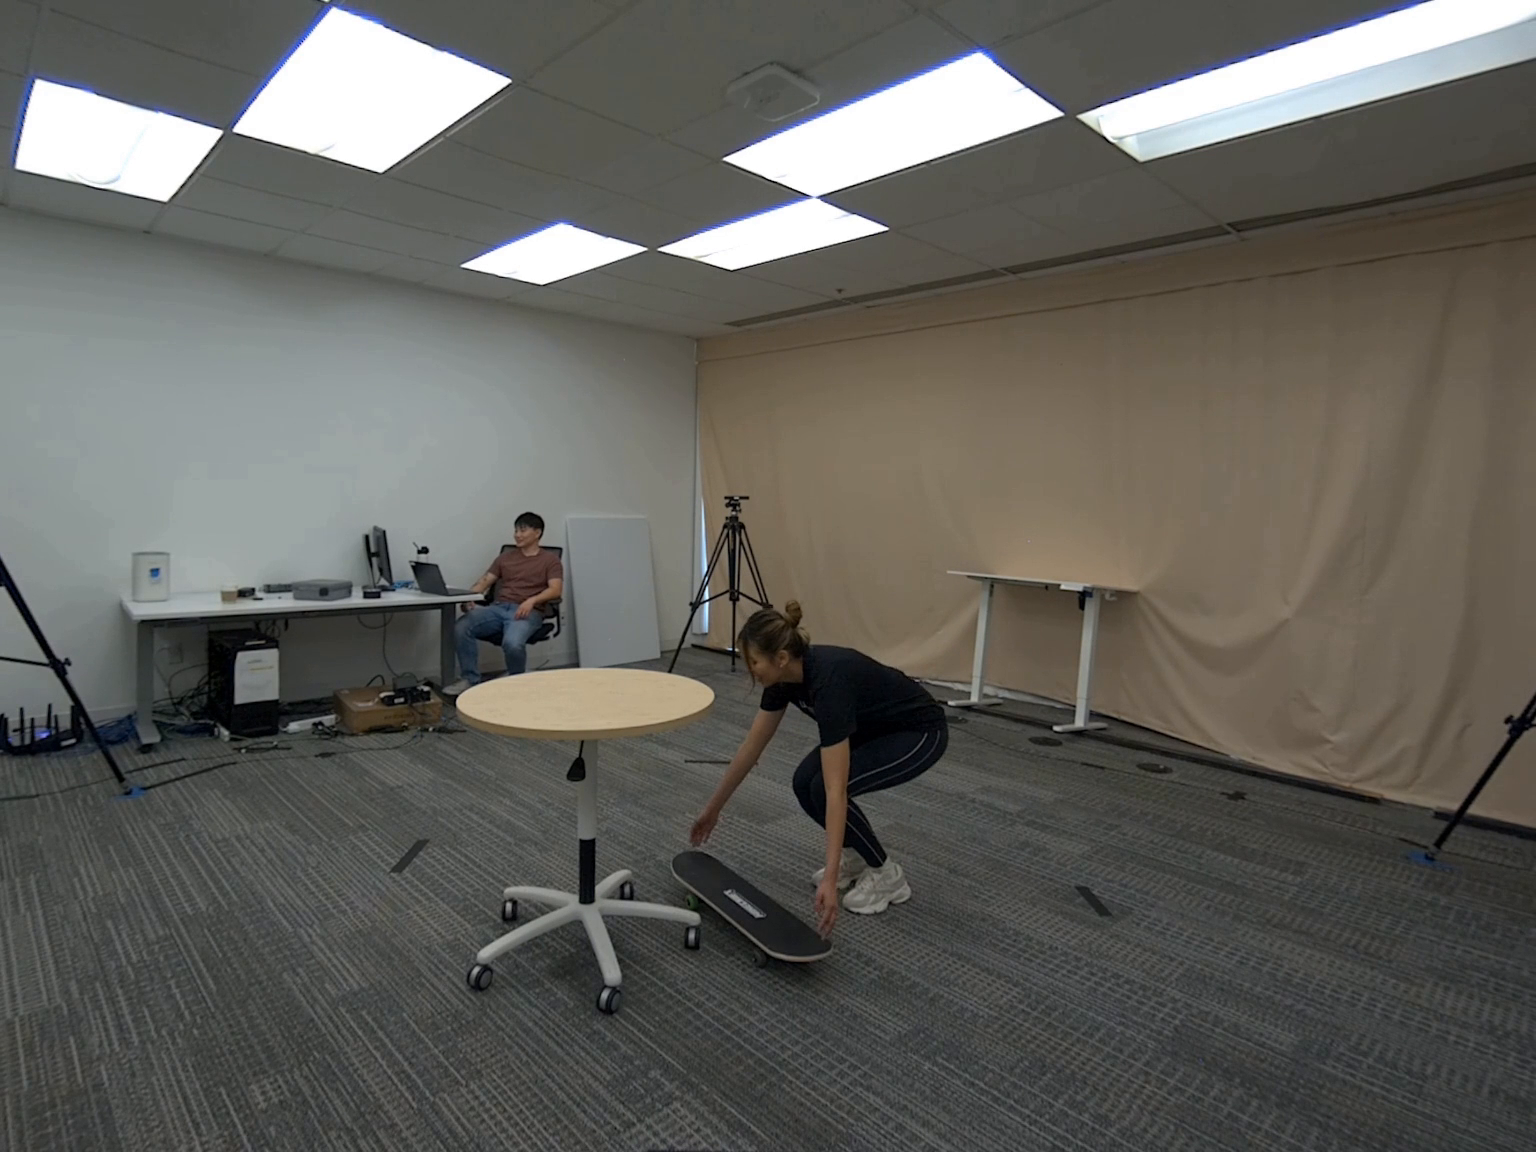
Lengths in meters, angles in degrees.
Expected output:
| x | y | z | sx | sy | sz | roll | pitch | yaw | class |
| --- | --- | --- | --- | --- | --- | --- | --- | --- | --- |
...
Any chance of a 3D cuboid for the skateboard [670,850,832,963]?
| x | y | z | sx | sy | sz | roll | pitch | yaw | class |
| --- | --- | --- | --- | --- | --- | --- | --- | --- | --- |
| -0.086 | 1.085 | 2.711 | 0.189 | 0.110 | 0.805 | -1 | 6 | -34 | skateboard |
